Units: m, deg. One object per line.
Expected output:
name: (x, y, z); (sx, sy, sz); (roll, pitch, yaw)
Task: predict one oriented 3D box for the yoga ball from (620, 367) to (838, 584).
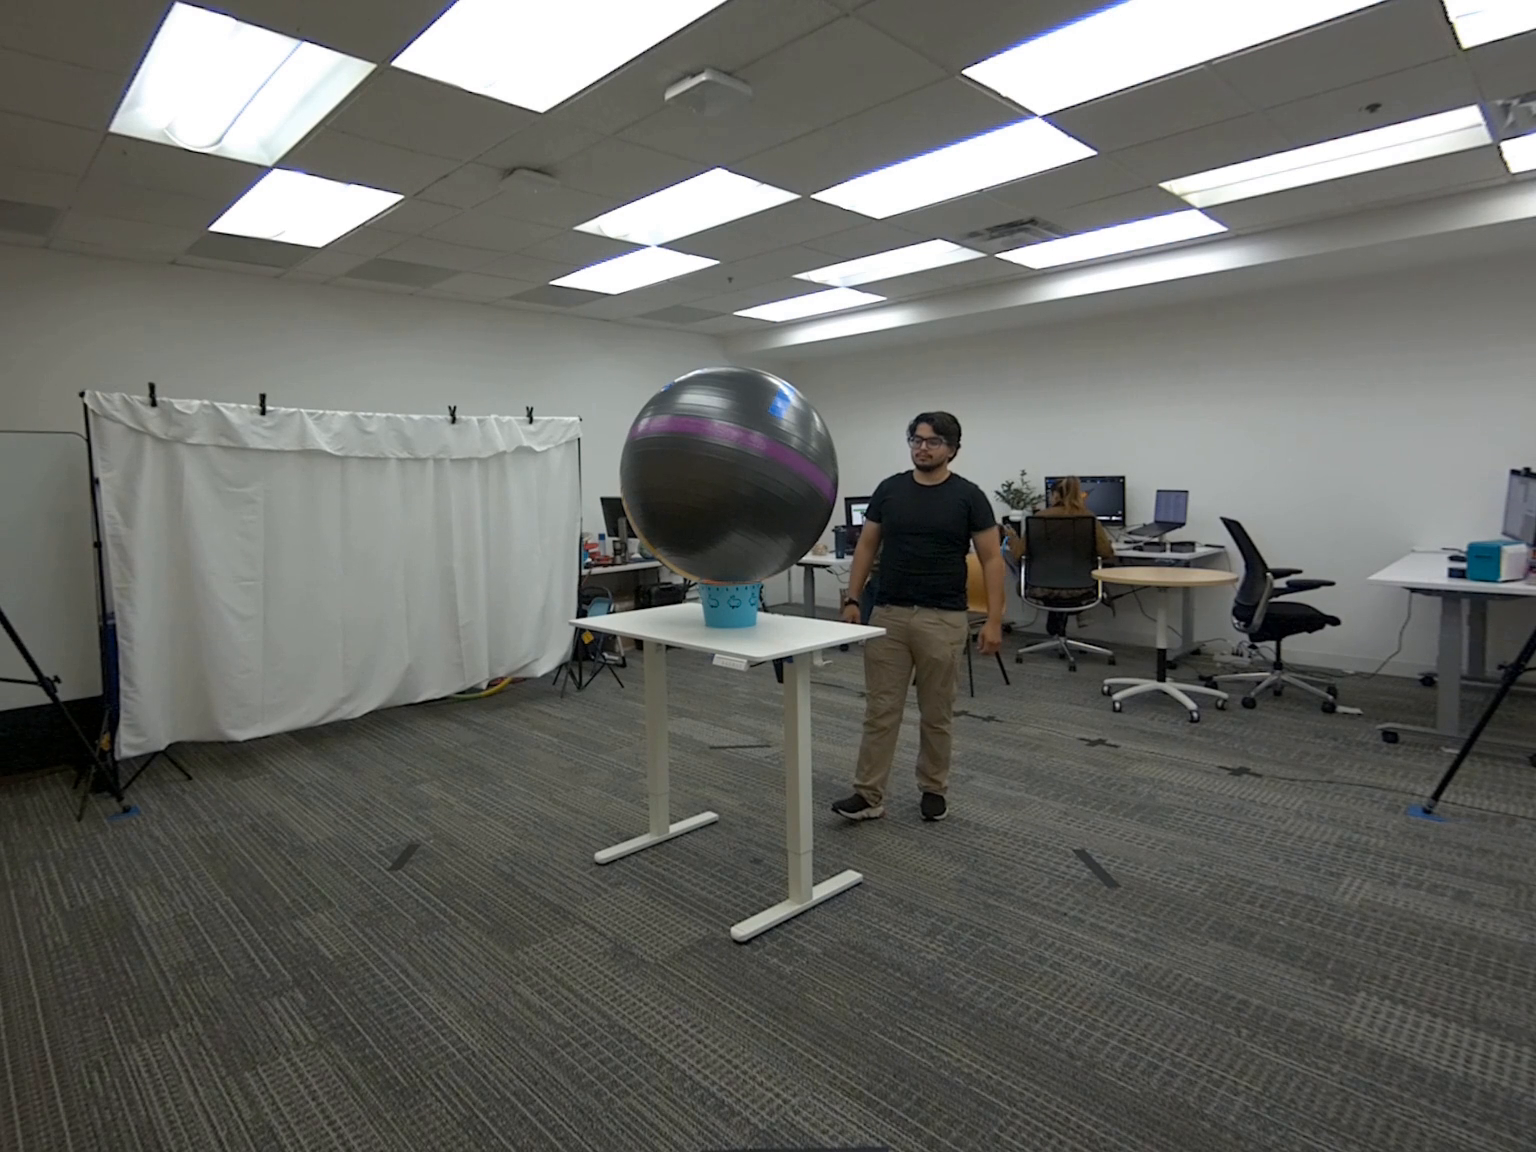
yoga ball: (-0.138, -0.339, 2.976); (0.757, 0.755, 0.762); (-1, 5, -2)
